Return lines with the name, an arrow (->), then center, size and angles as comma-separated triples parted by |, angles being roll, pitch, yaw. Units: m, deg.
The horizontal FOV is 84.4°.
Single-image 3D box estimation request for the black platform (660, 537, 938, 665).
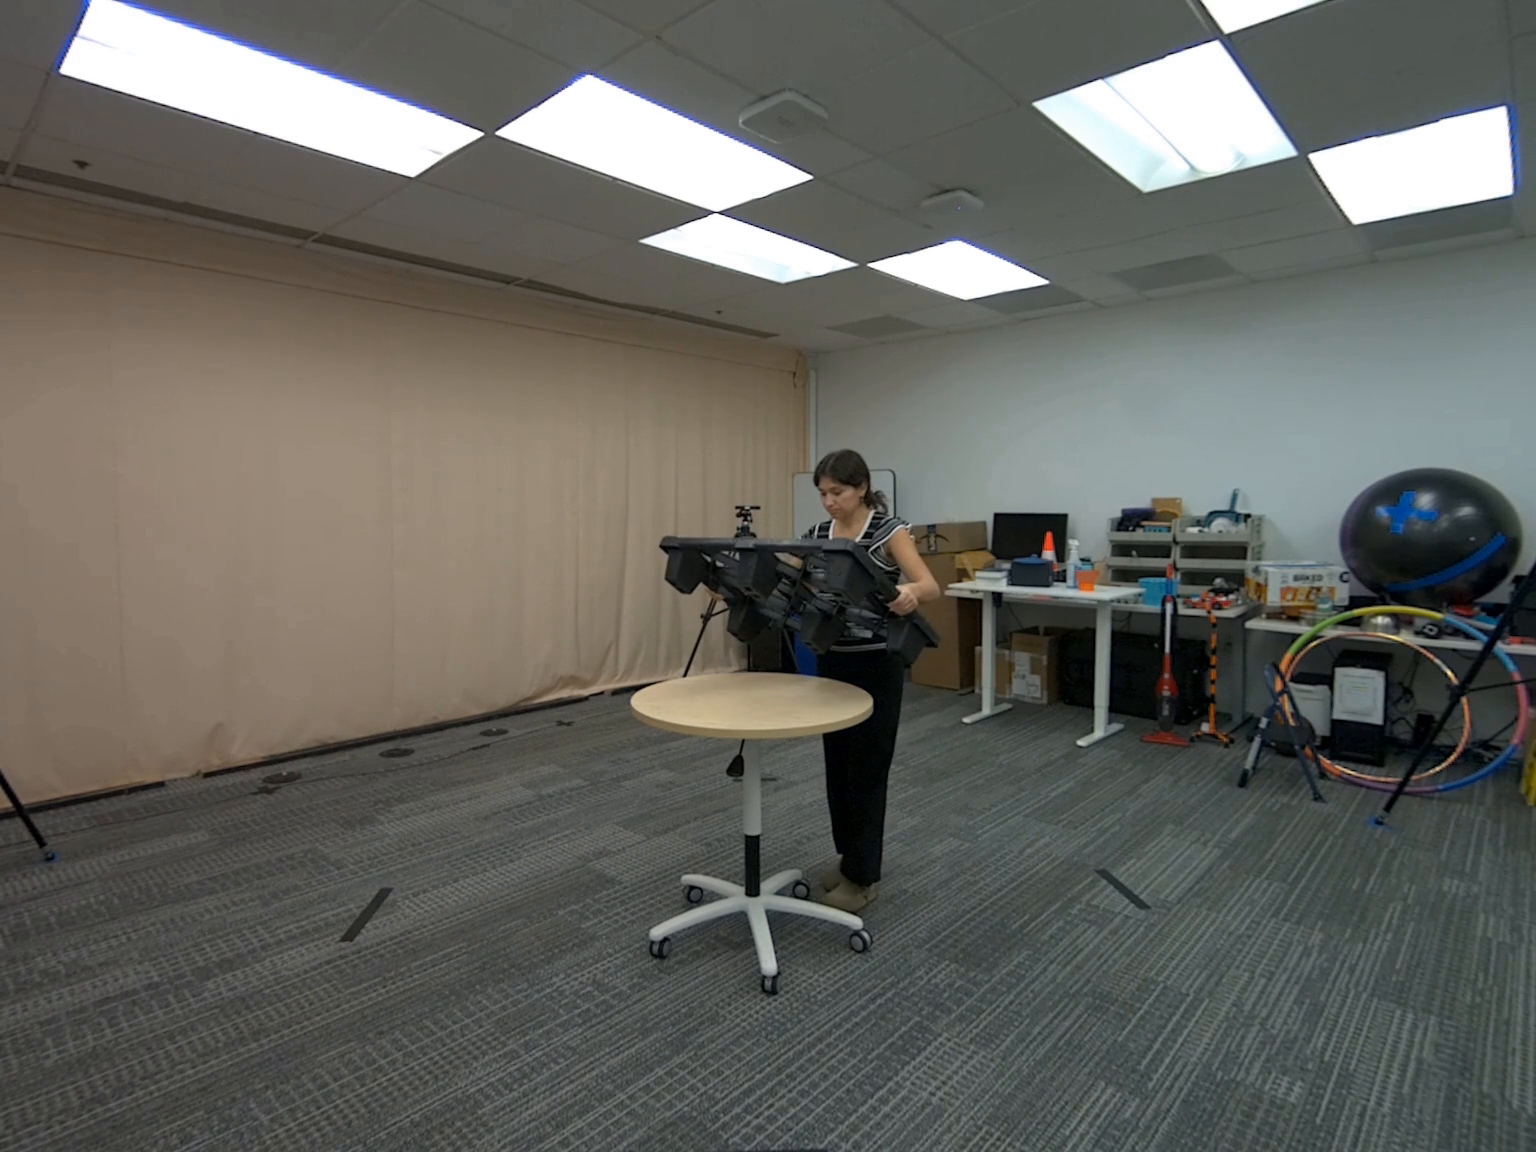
black platform -> 0.072, 0.090, 2.767 | 0.832, 0.144, 0.584 | 3, -30, 43
